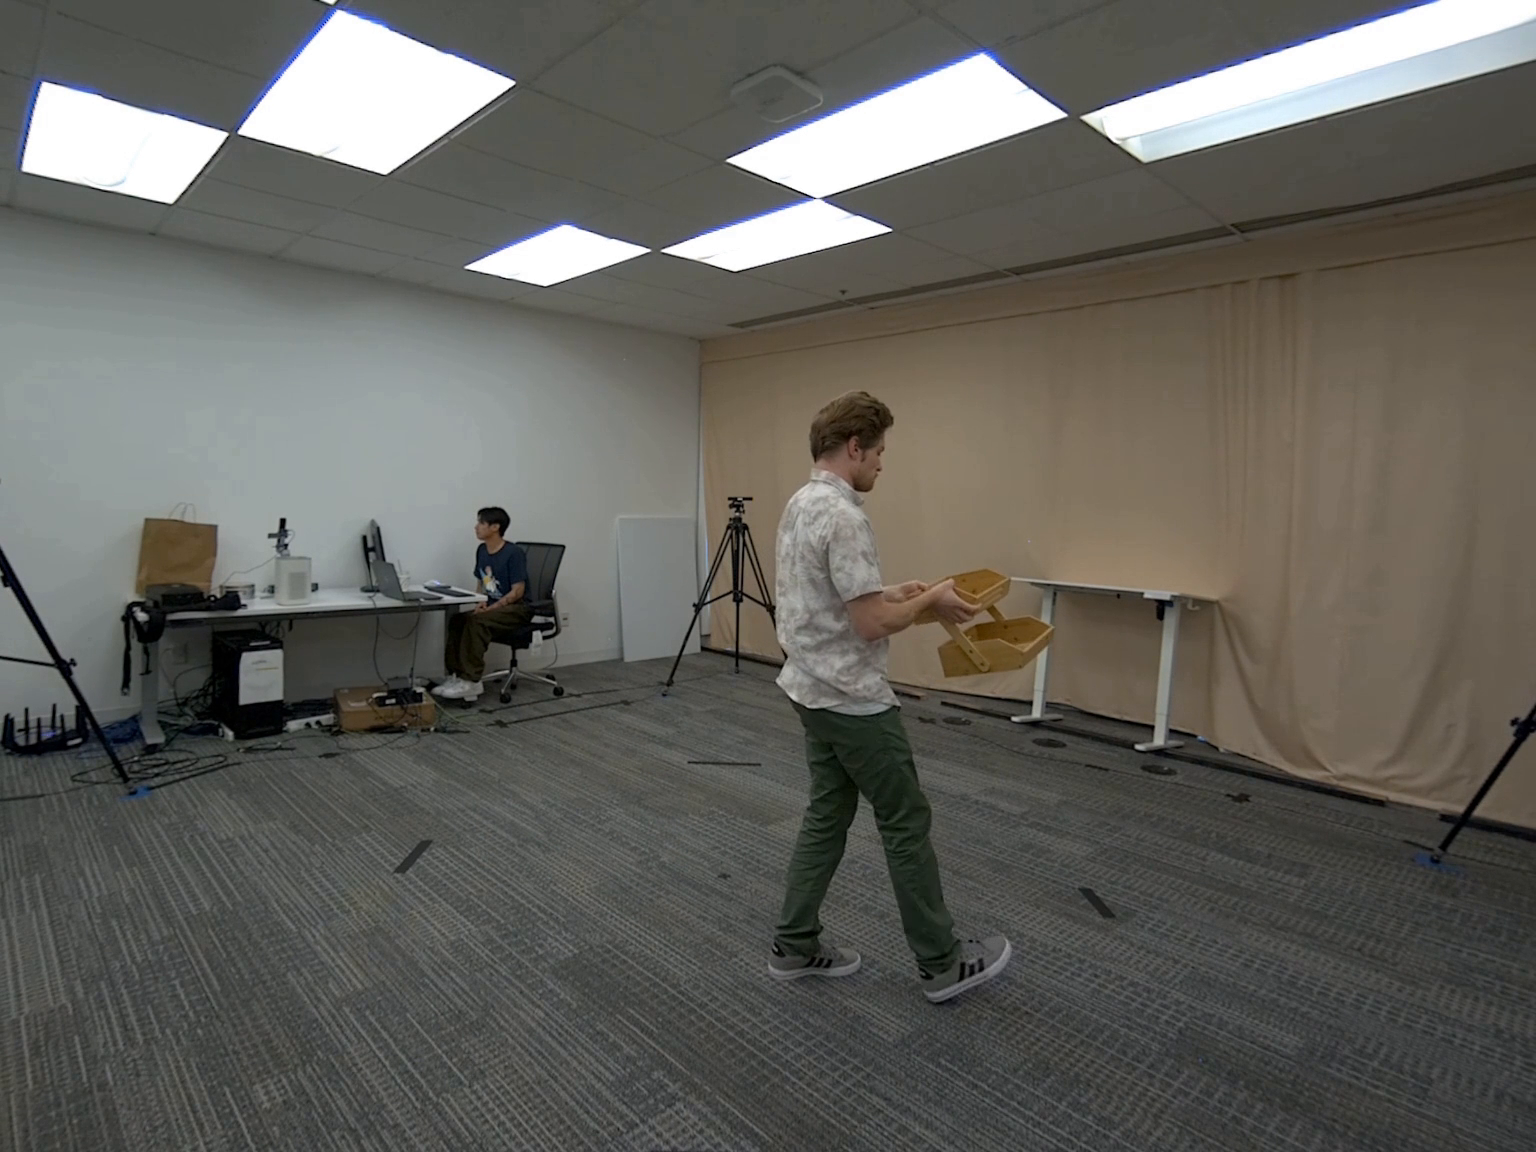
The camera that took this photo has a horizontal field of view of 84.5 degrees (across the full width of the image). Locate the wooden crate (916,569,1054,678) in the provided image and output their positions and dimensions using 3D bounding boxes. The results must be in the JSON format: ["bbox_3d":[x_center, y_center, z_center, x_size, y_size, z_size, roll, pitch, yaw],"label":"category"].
[{"bbox_3d":[0.649,0.127,2.520,0.307,0.273,0.319,-14,2,36],"label":"wooden crate"}]
